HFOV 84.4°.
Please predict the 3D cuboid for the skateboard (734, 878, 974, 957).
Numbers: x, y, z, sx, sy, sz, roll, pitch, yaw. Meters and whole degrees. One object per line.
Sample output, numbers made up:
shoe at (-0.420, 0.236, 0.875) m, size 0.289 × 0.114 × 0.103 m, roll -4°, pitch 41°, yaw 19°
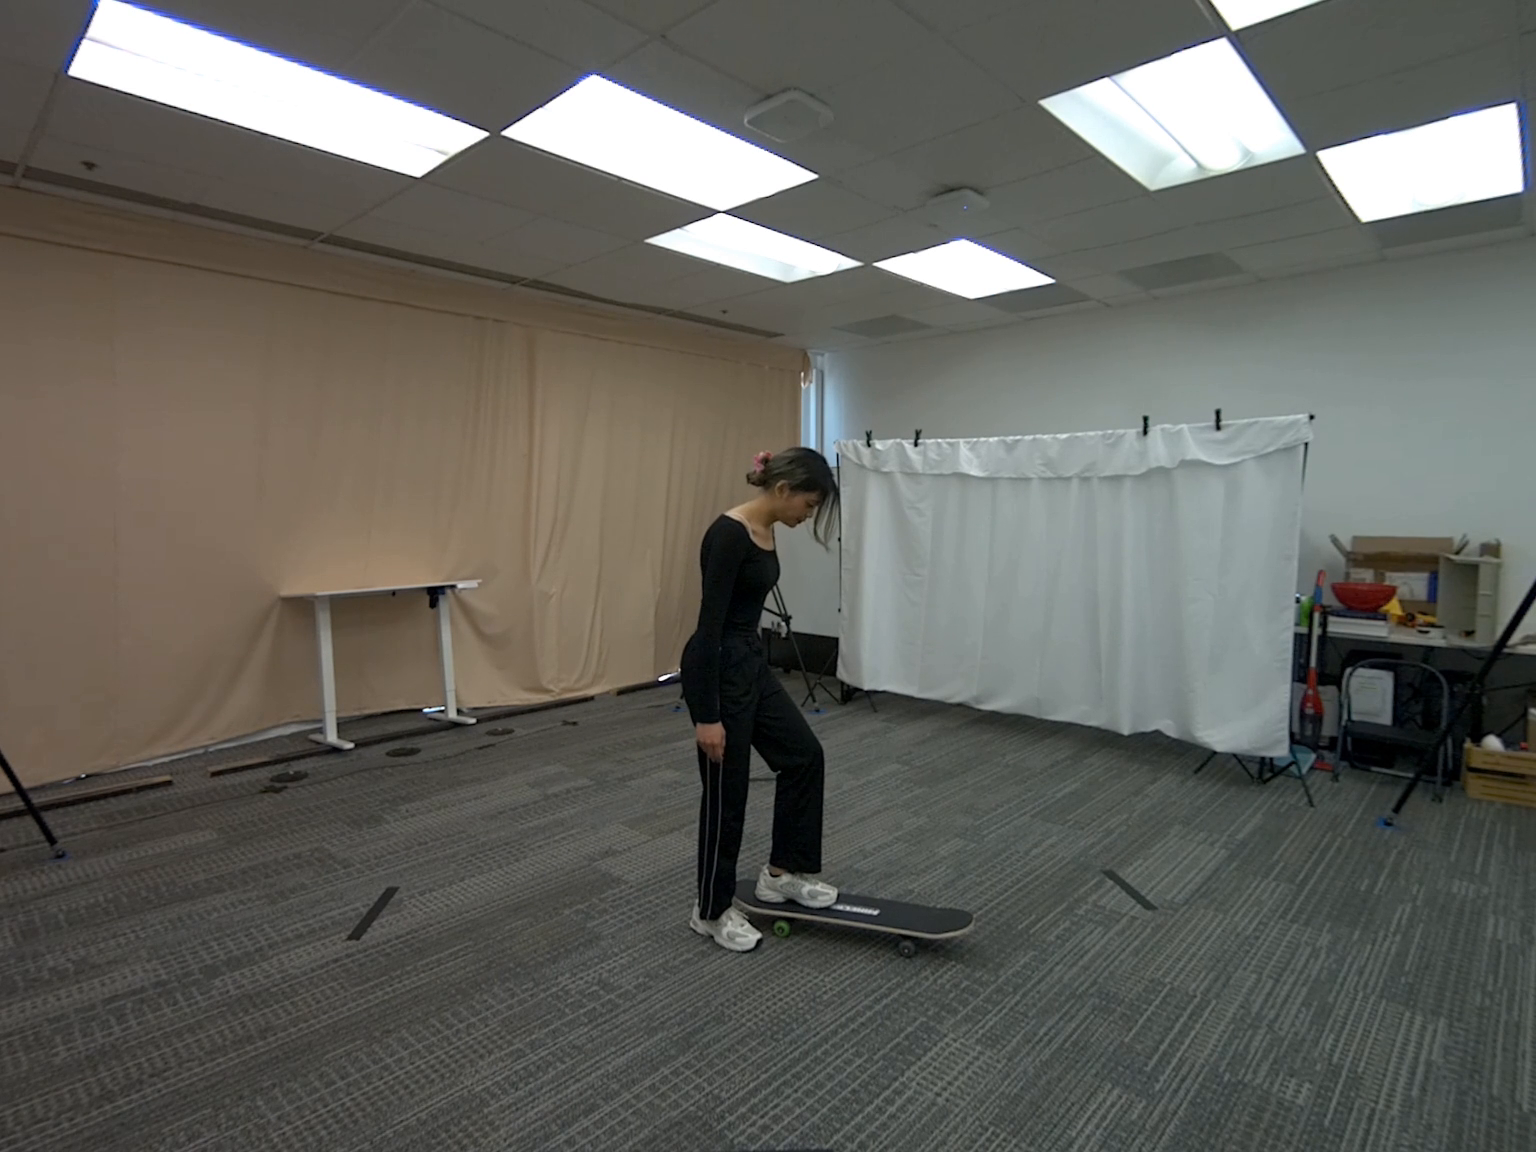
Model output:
skateboard at (0.264, 1.111, 2.726) m, size 0.800 × 0.110 × 0.190 m, roll 1°, pitch 4°, yaw 17°
